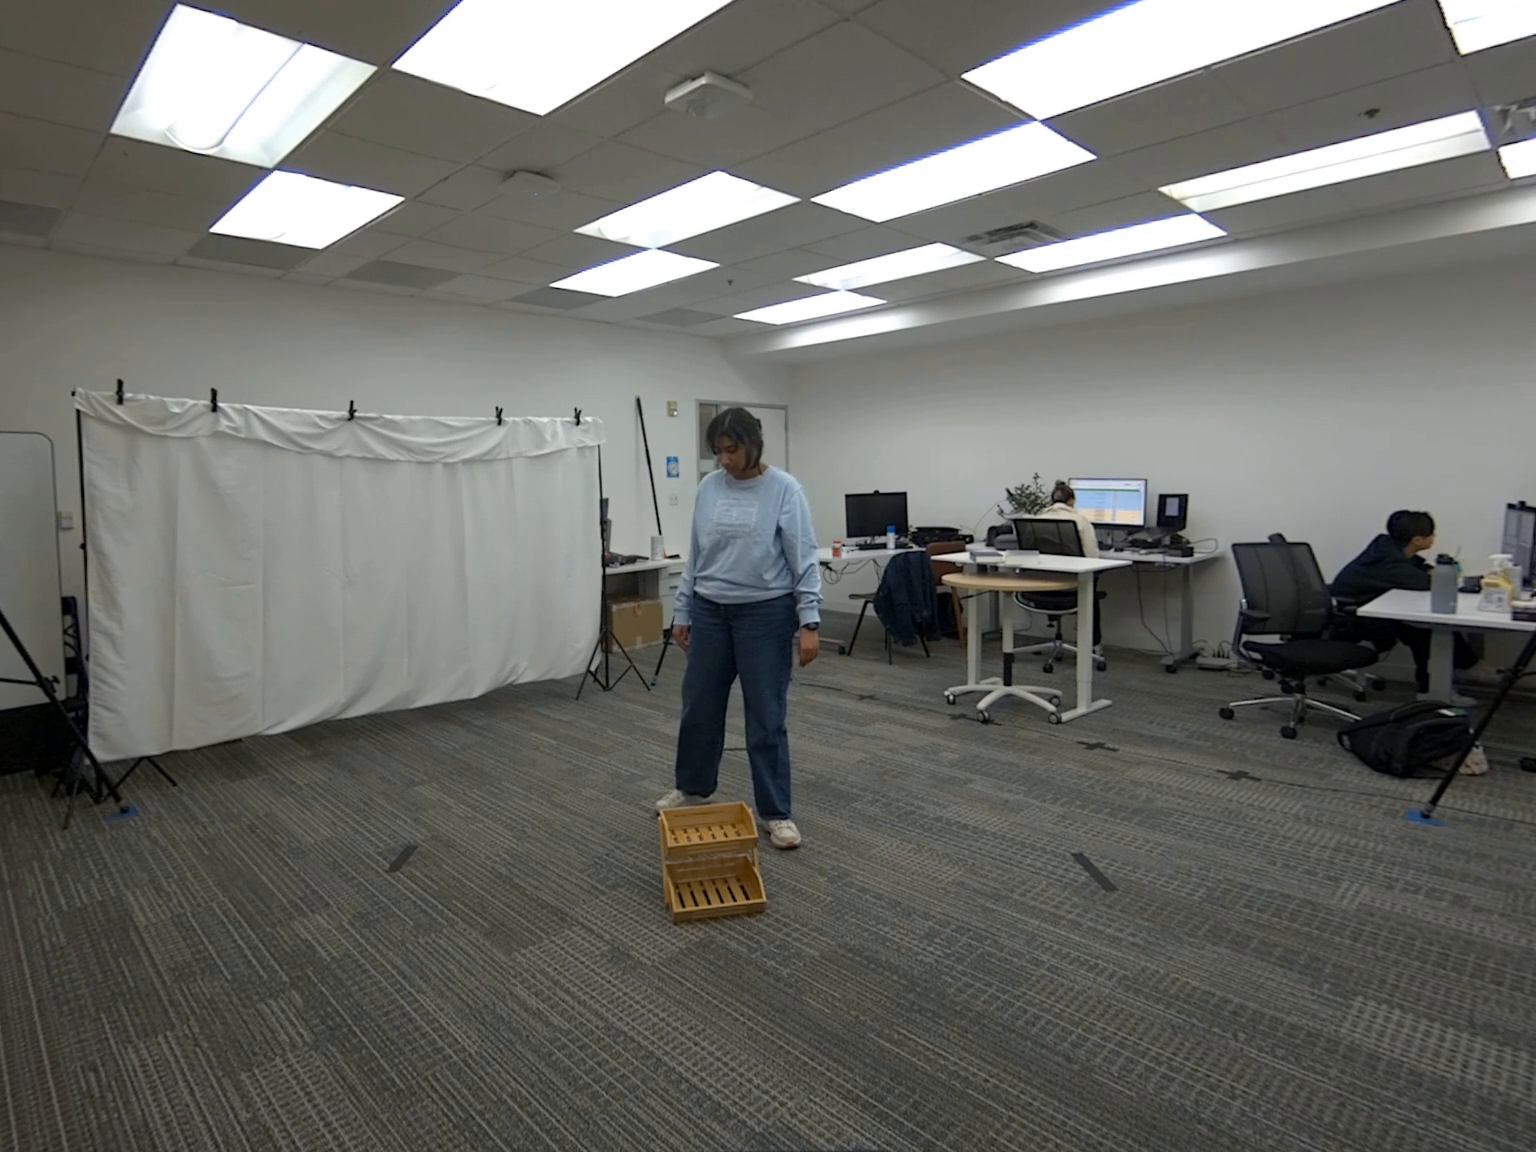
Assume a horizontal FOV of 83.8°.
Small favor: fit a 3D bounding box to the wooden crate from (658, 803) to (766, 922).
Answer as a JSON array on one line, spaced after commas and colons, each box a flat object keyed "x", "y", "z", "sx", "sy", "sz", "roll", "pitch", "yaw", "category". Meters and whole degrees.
[{"x": -0.193, "y": 0.948, "z": 2.844, "sx": 0.321, "sy": 0.272, "sz": 0.307, "roll": -3, "pitch": 6, "yaw": -13, "category": "wooden crate"}]
